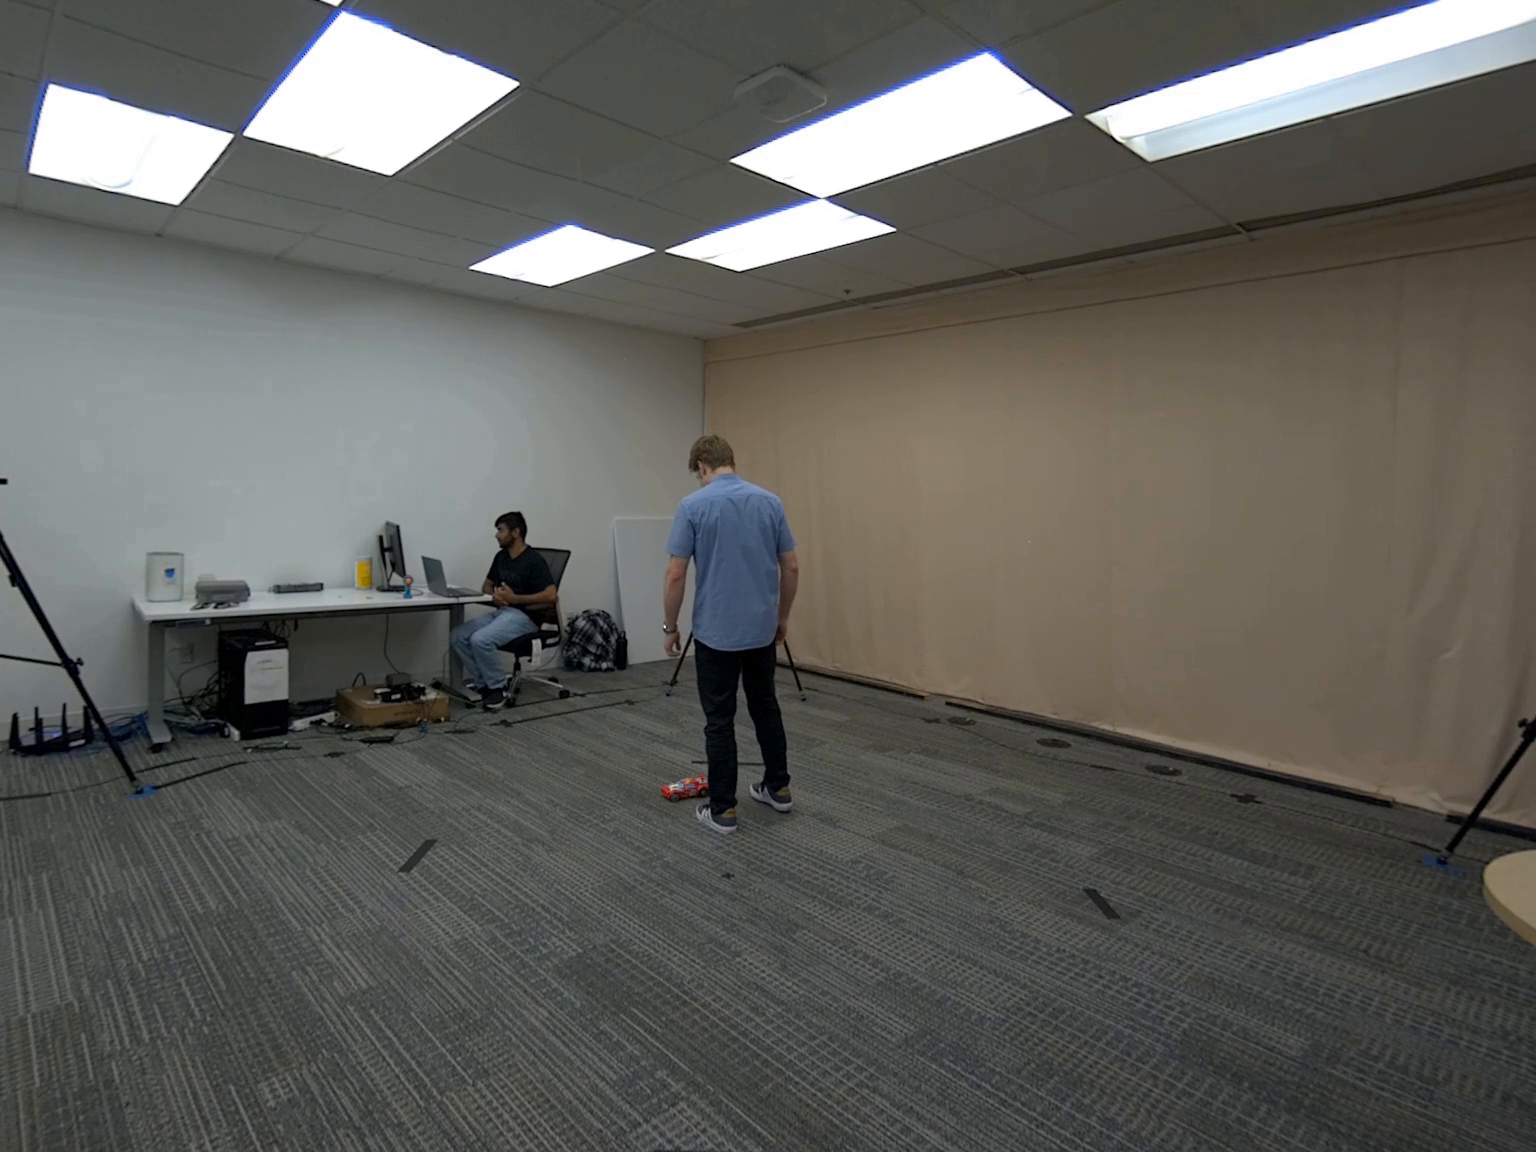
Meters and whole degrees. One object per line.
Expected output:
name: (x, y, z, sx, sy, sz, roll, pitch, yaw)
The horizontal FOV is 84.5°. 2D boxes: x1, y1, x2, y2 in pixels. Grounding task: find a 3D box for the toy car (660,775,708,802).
toy car: (-0.380, 0.996, 3.943, 0.251, 0.083, 0.133, -13, 9, -26)
